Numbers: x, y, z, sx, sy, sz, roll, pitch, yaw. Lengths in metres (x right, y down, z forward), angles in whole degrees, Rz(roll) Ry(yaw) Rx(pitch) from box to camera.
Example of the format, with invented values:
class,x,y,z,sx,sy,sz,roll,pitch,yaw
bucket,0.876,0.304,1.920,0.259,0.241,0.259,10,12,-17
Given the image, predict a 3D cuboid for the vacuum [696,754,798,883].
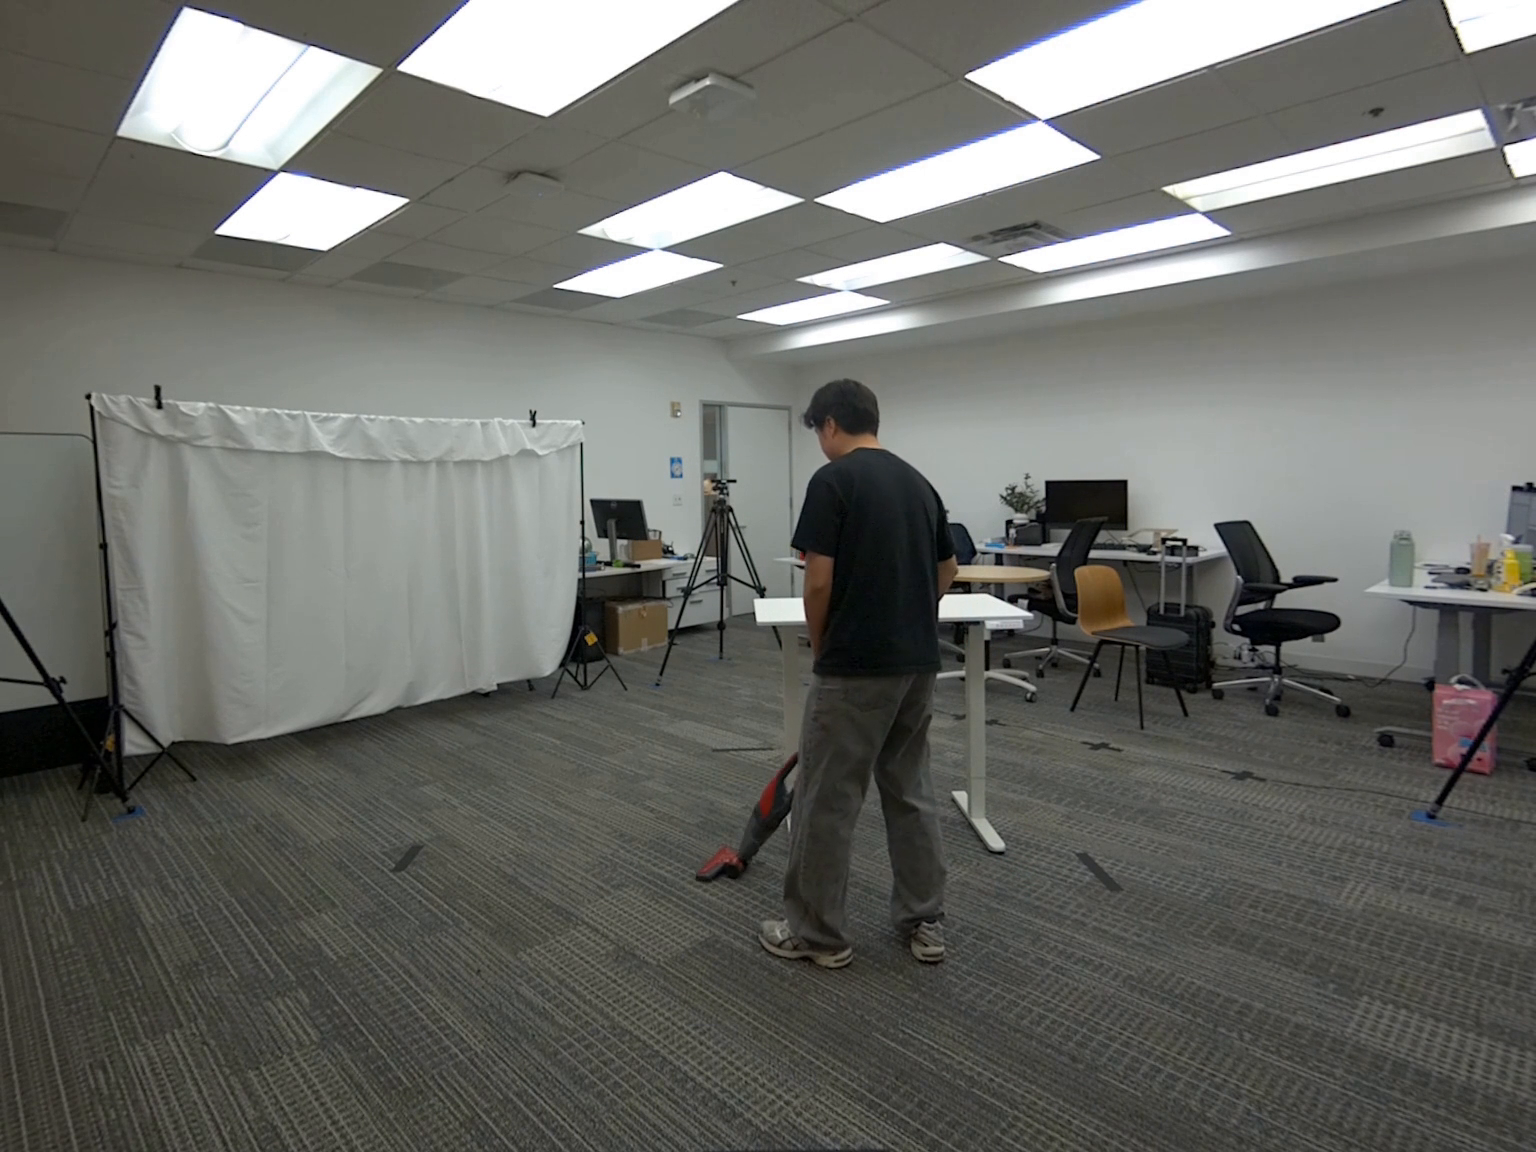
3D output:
class,x,y,z,sx,sy,sz,roll,pitch,yaw
vacuum,0.128,0.644,2.923,0.147,1.046,0.248,40,18,15
